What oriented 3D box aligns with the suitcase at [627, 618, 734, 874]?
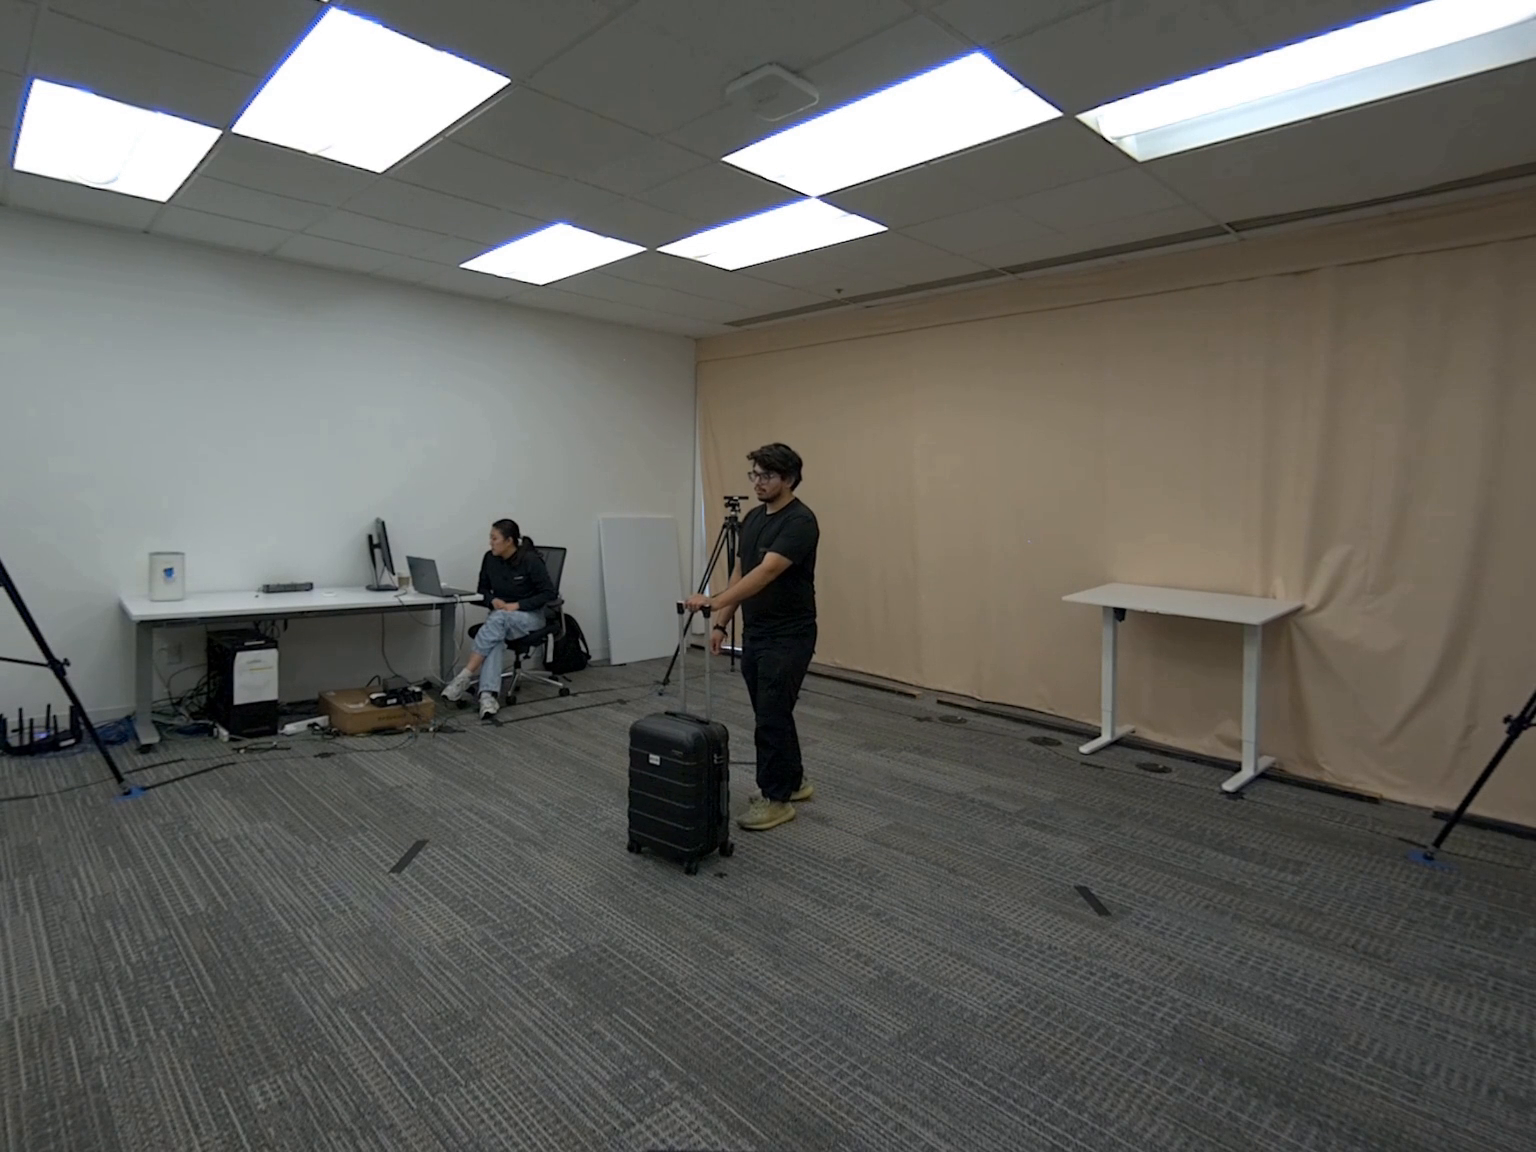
[{"bbox_3d":[-0.351,0.613,3.216,0.393,0.973,0.252,5,9,36],"label":"suitcase"}]
